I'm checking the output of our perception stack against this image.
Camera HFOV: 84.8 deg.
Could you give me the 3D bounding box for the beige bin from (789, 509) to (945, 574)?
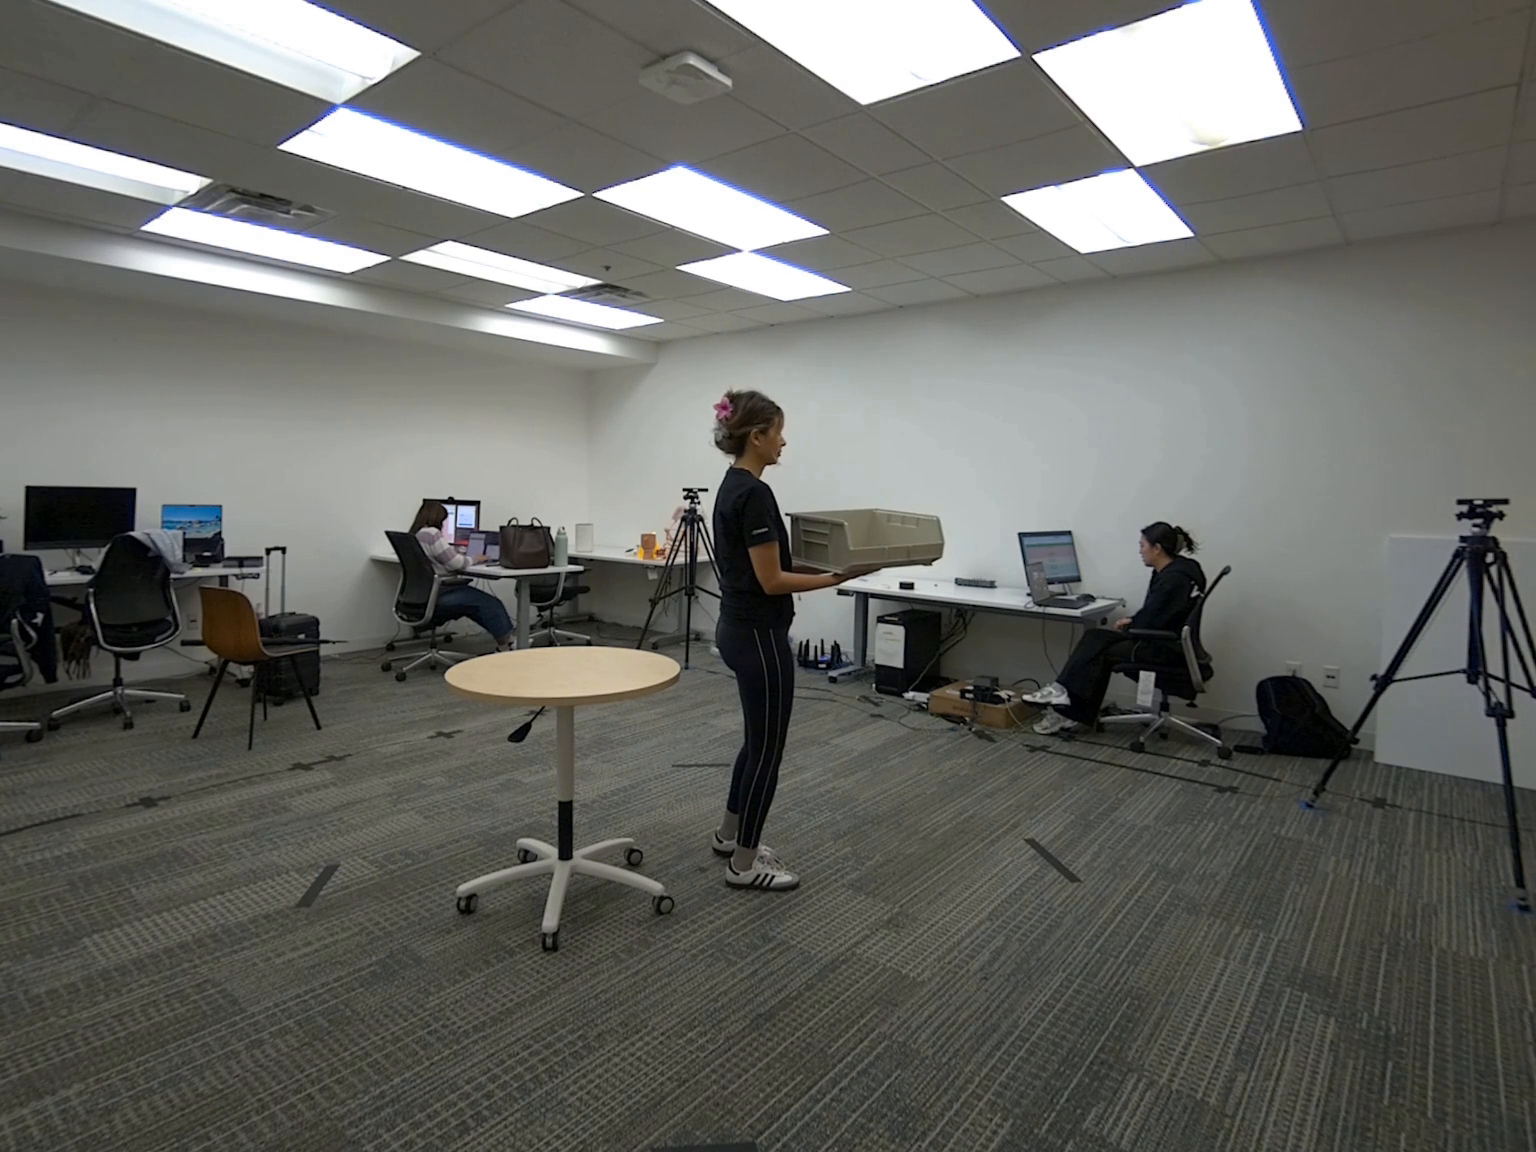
[{"bbox_3d":[0.335,-0.128,3.018,0.411,0.187,0.390,-6,10,-31],"label":"beige bin"}]
